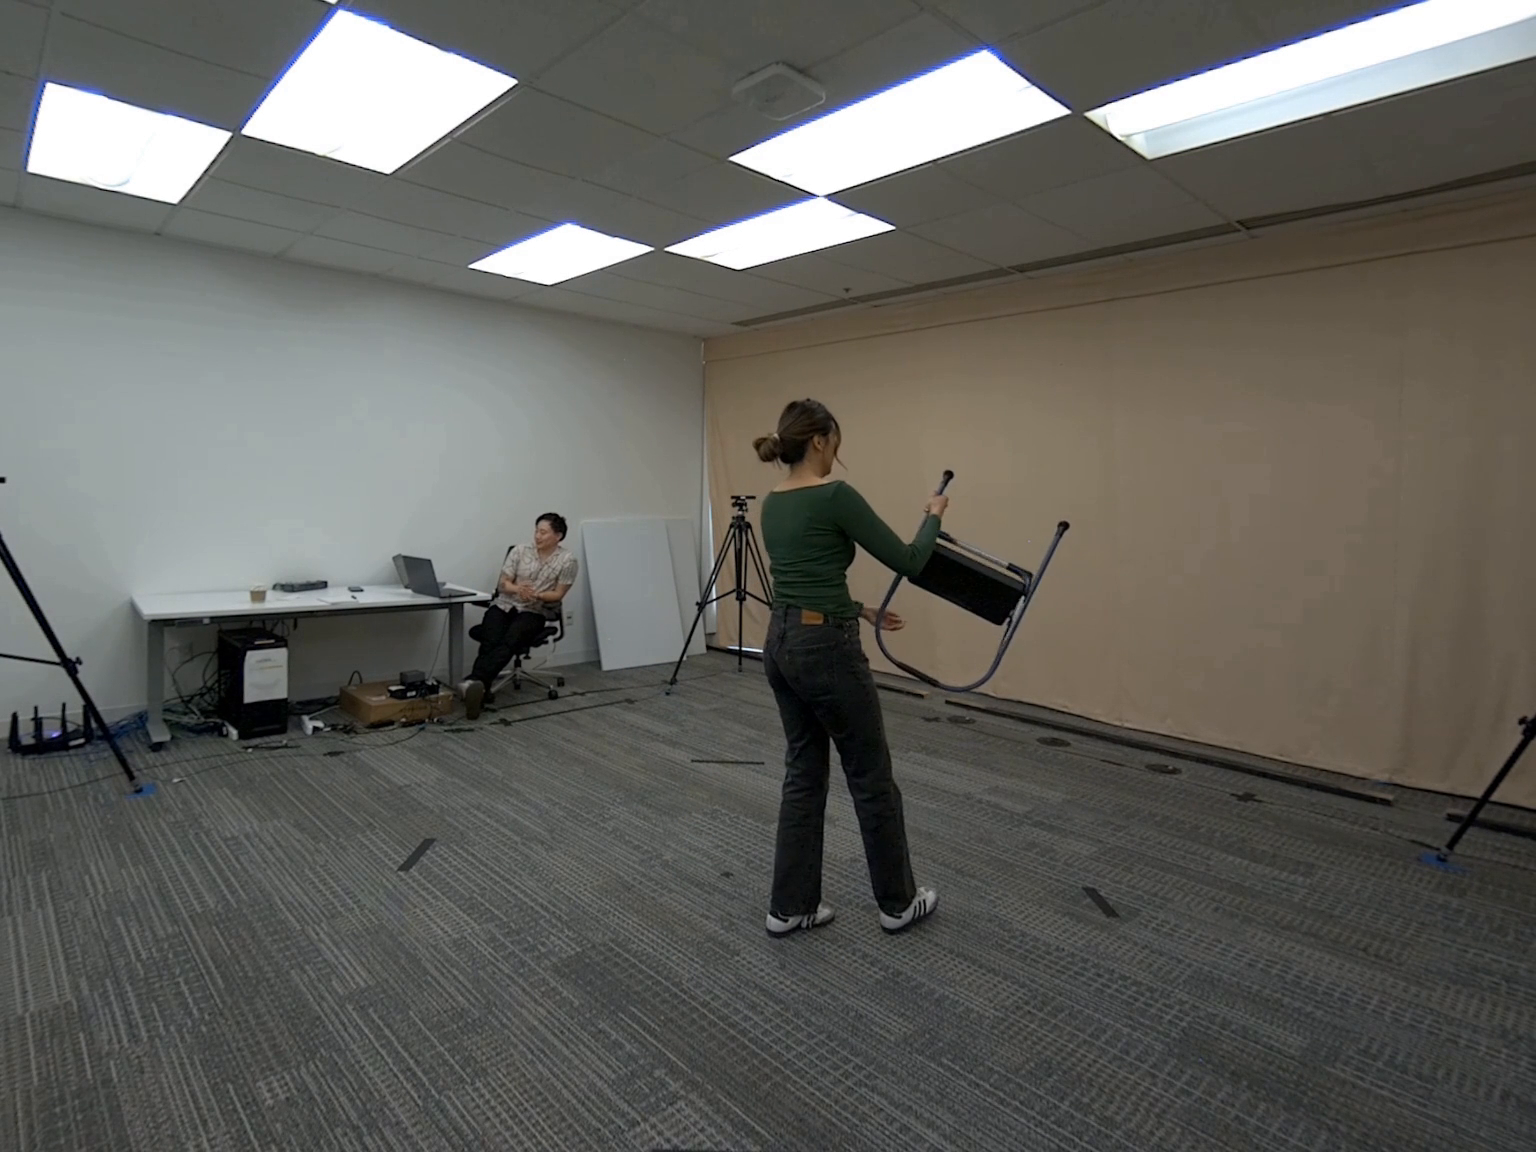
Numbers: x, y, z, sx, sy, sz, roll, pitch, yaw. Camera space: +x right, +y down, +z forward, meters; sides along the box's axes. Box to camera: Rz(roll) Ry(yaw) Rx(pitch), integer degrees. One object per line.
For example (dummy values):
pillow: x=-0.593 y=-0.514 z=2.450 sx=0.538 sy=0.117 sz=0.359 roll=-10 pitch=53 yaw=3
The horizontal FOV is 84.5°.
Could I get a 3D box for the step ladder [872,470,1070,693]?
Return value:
step ladder: x=0.614 y=0.056 z=2.752 sx=0.438 sy=0.608 sz=0.342 roll=26 pitch=-28 yaw=17
